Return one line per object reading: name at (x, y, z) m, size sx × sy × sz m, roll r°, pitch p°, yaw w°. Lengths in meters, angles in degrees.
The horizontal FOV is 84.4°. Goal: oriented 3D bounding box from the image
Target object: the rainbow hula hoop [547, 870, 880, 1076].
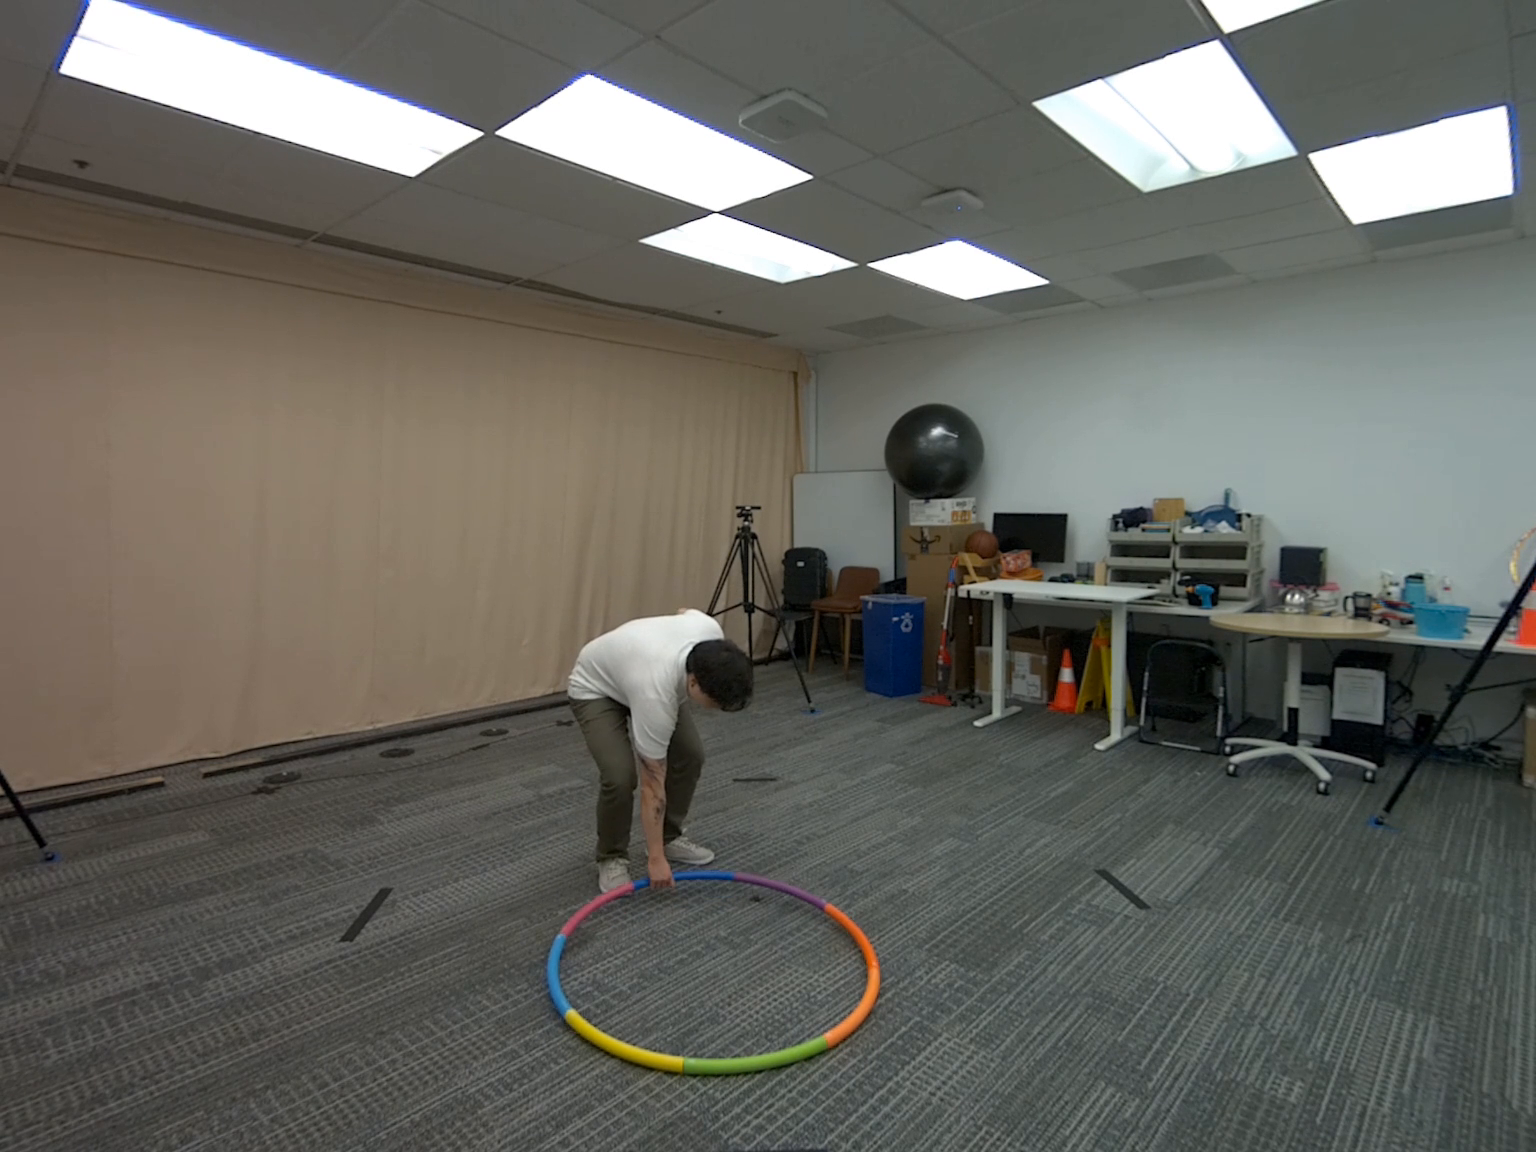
rainbow hula hoop at (-0.152, 1.118, 2.537) m, size 0.978 × 0.035 × 0.984 m, roll 1°, pitch 8°, yaw -2°
